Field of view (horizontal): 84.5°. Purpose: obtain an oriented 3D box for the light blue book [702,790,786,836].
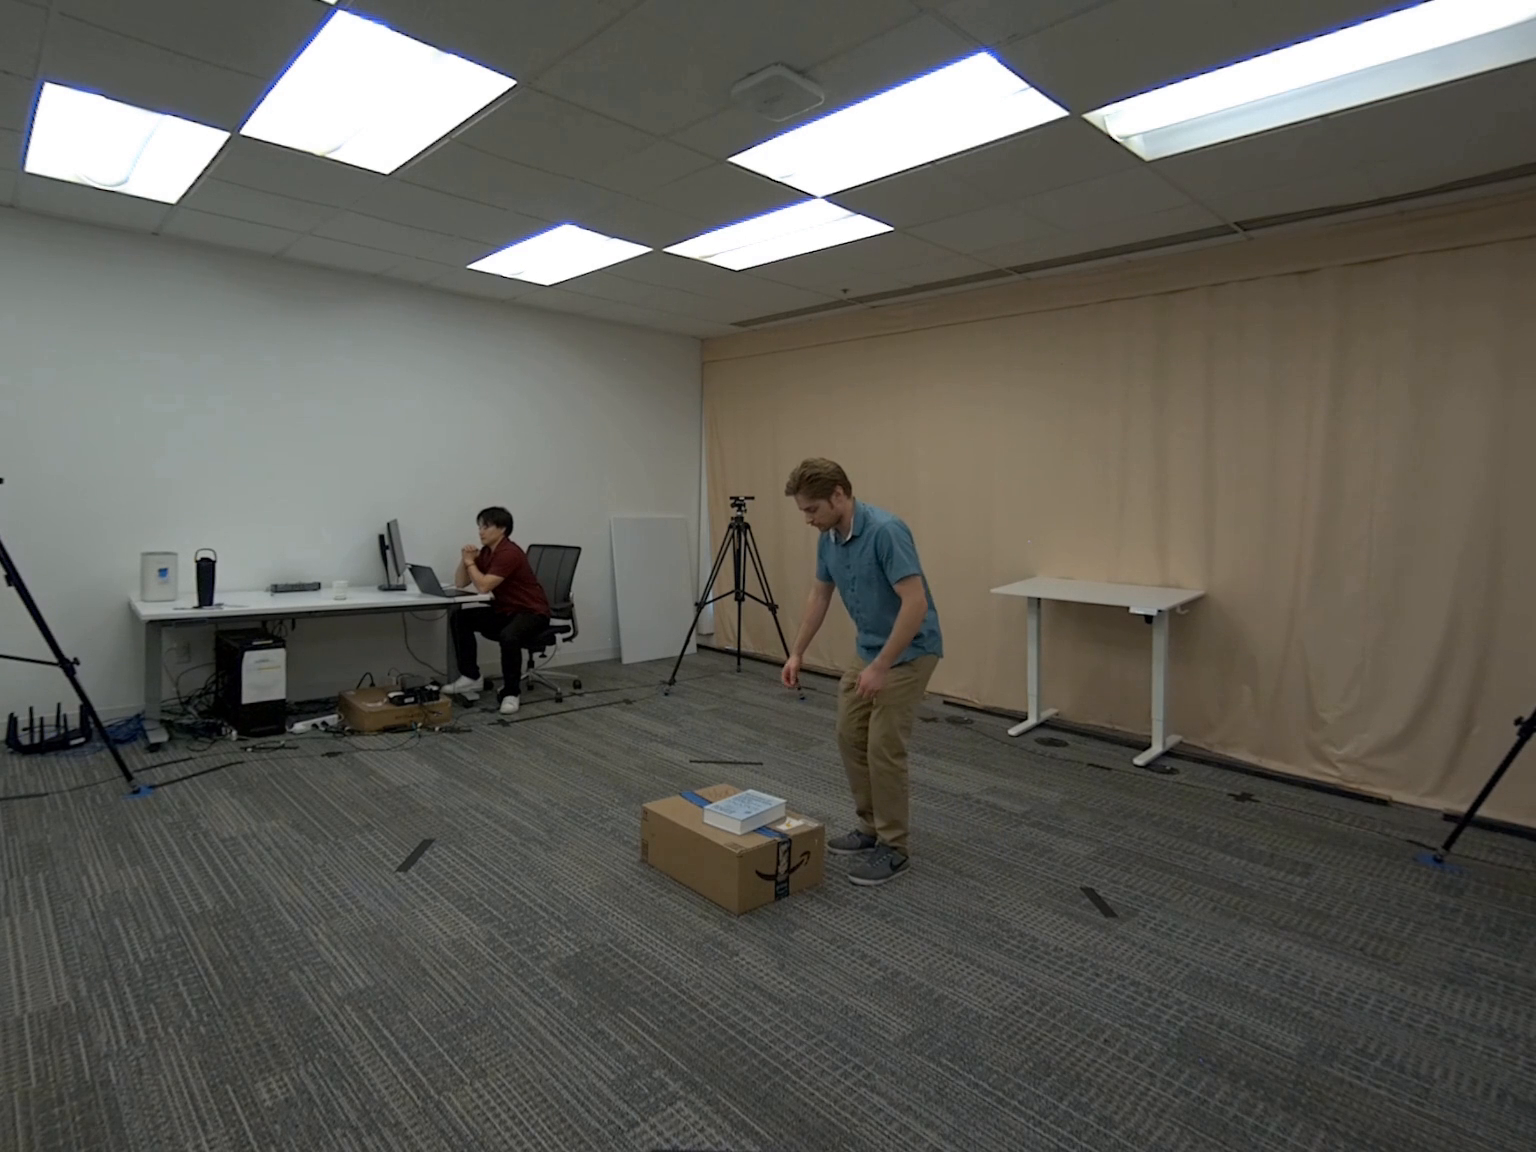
[{"bbox_3d":[-0.090,0.862,3.099,0.196,0.059,0.255,5,6,40],"label":"light blue book"}]
